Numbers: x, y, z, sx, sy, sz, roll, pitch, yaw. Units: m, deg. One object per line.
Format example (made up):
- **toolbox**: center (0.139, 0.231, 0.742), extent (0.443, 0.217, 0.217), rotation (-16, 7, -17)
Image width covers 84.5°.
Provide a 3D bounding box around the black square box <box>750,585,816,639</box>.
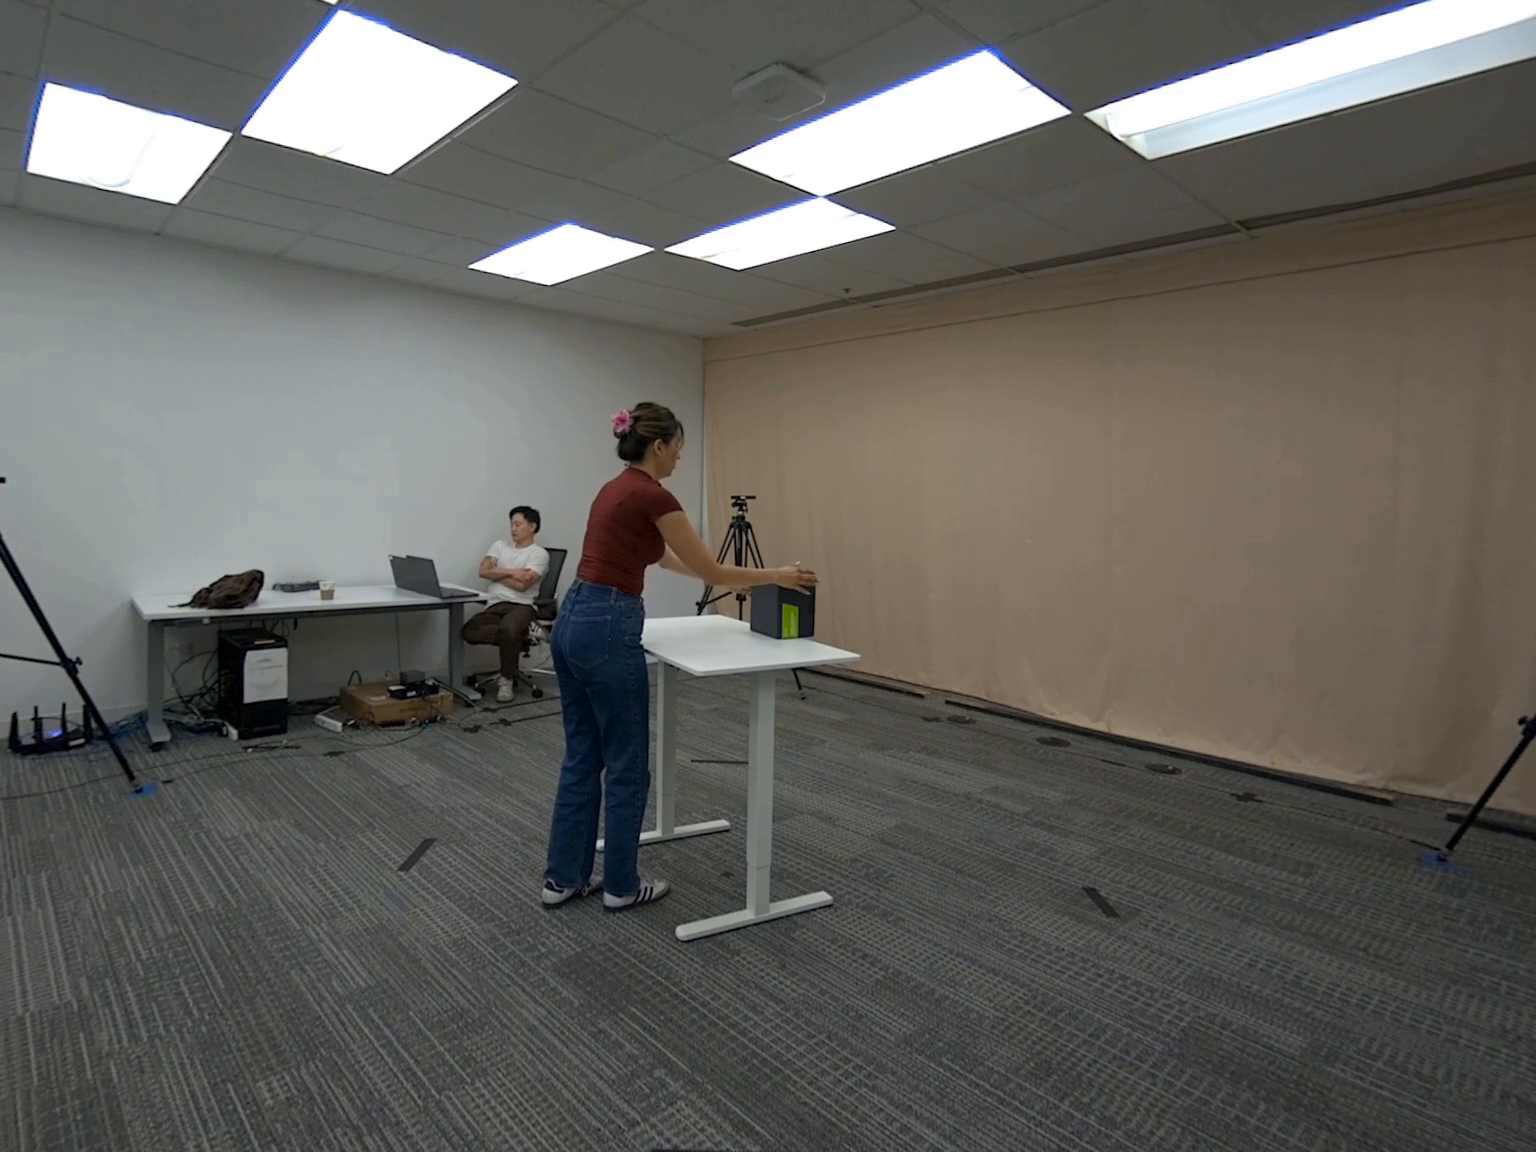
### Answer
- **black square box**: center (0.049, 0.105, 3.142), extent (0.153, 0.227, 0.222), rotation (-1, 5, -30)
